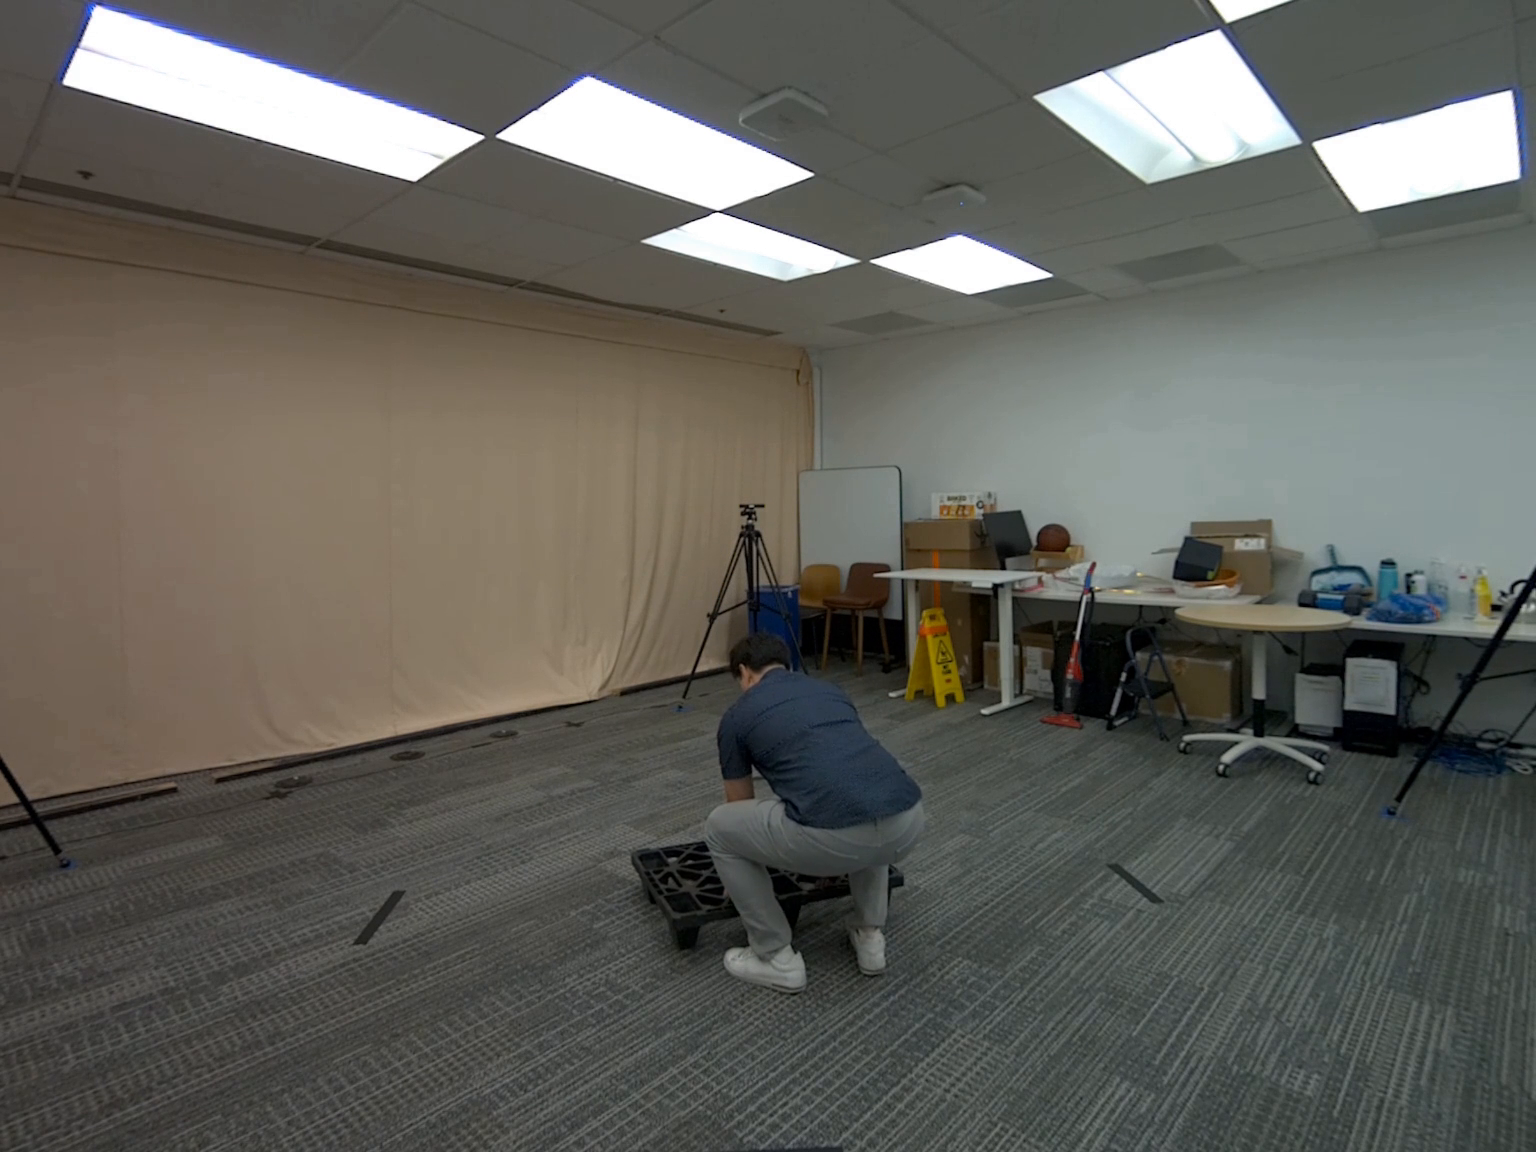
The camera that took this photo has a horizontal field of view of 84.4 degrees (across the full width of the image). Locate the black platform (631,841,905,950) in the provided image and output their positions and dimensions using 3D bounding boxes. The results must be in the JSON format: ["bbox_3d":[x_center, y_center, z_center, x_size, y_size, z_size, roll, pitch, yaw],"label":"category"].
[{"bbox_3d":[-0.024,1.062,2.938,0.790,0.143,0.617,-3,2,-20],"label":"black platform"}]
